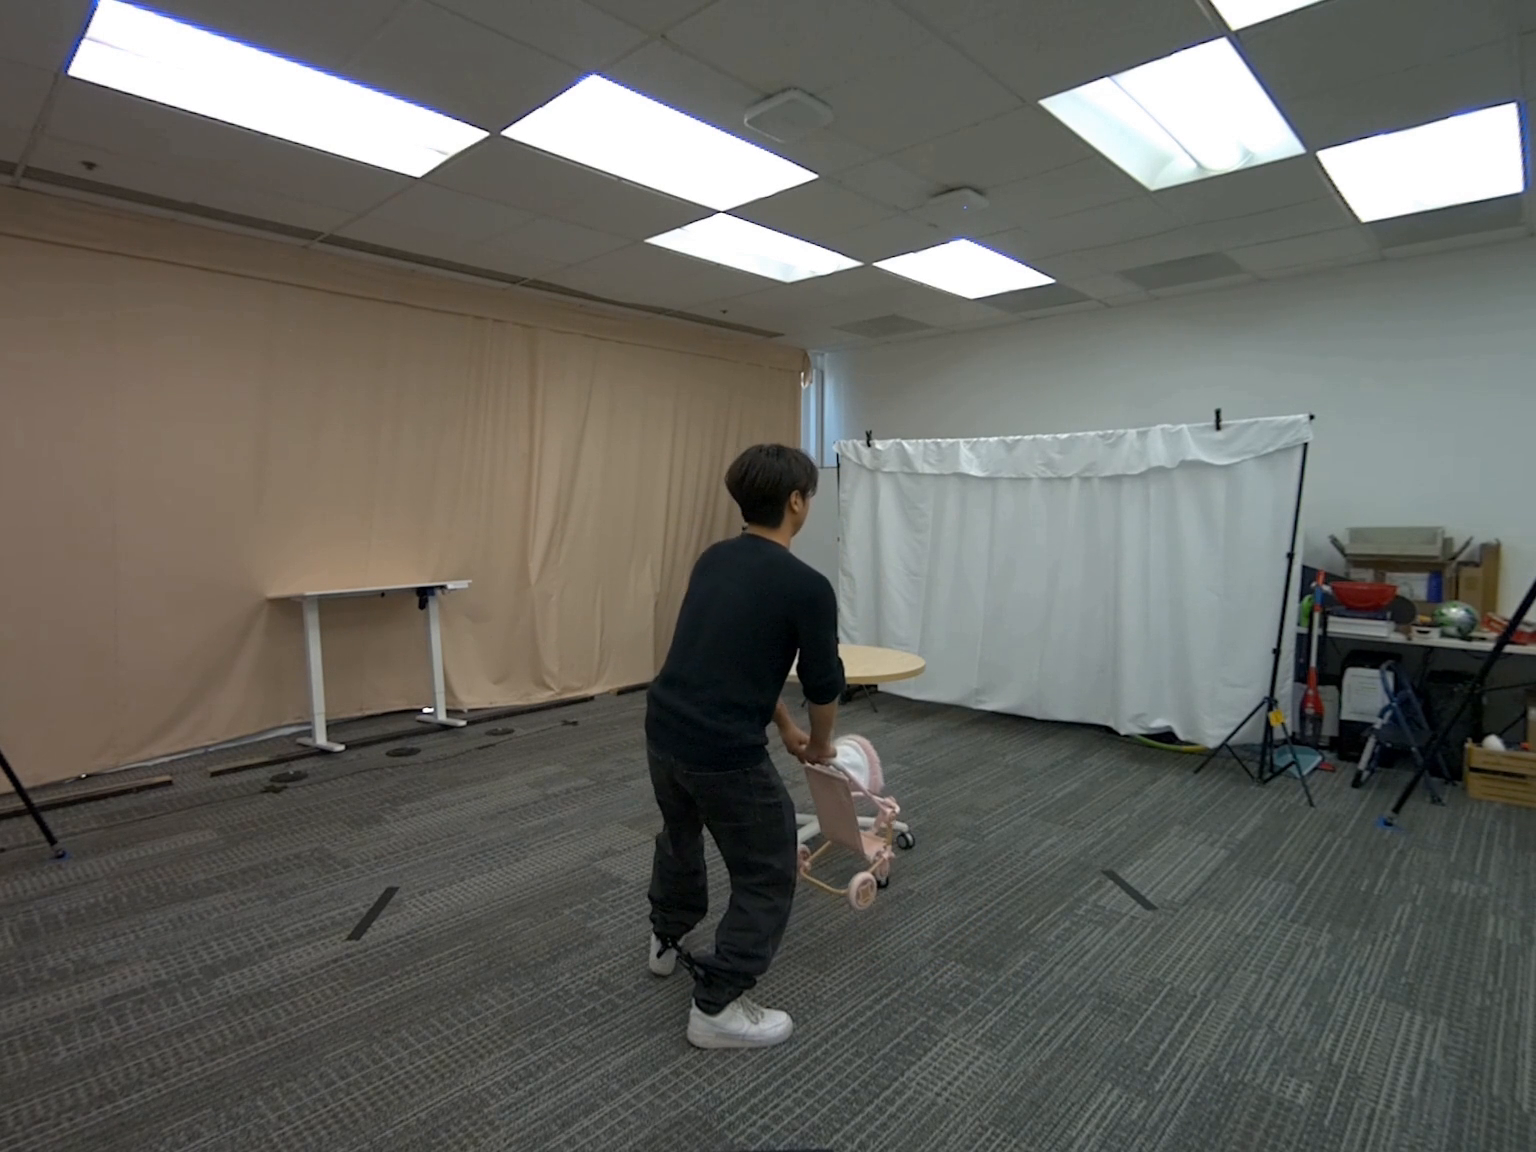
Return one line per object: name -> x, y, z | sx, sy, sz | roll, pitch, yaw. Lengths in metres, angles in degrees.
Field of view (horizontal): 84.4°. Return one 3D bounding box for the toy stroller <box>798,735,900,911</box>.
toy stroller -> 0.249, 0.731, 2.566 | 0.332, 0.531, 0.291 | -13, 11, -38
